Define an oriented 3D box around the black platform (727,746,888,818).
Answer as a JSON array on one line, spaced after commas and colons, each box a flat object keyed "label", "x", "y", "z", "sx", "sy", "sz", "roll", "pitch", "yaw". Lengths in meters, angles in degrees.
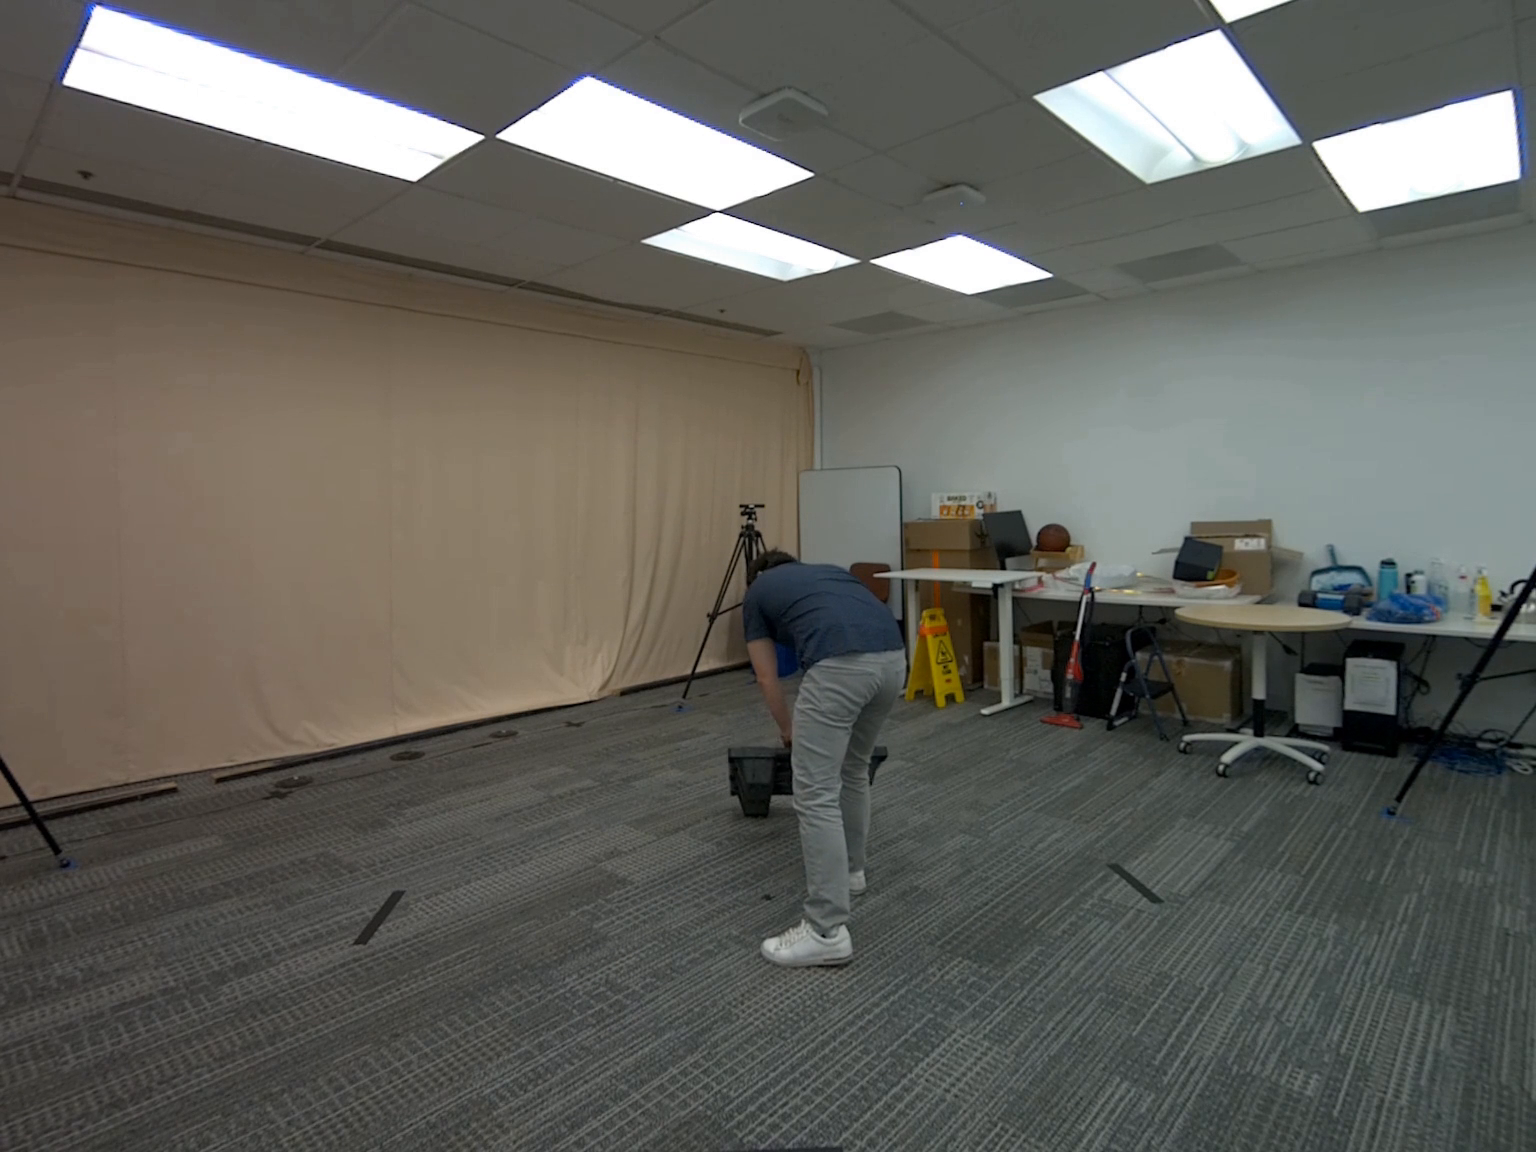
[{"label": "black platform", "x": 0.134, "y": 0.856, "z": 3.467, "sx": 0.605, "sy": 0.145, "sz": 0.793, "roll": 0, "pitch": -25, "yaw": -1}]
